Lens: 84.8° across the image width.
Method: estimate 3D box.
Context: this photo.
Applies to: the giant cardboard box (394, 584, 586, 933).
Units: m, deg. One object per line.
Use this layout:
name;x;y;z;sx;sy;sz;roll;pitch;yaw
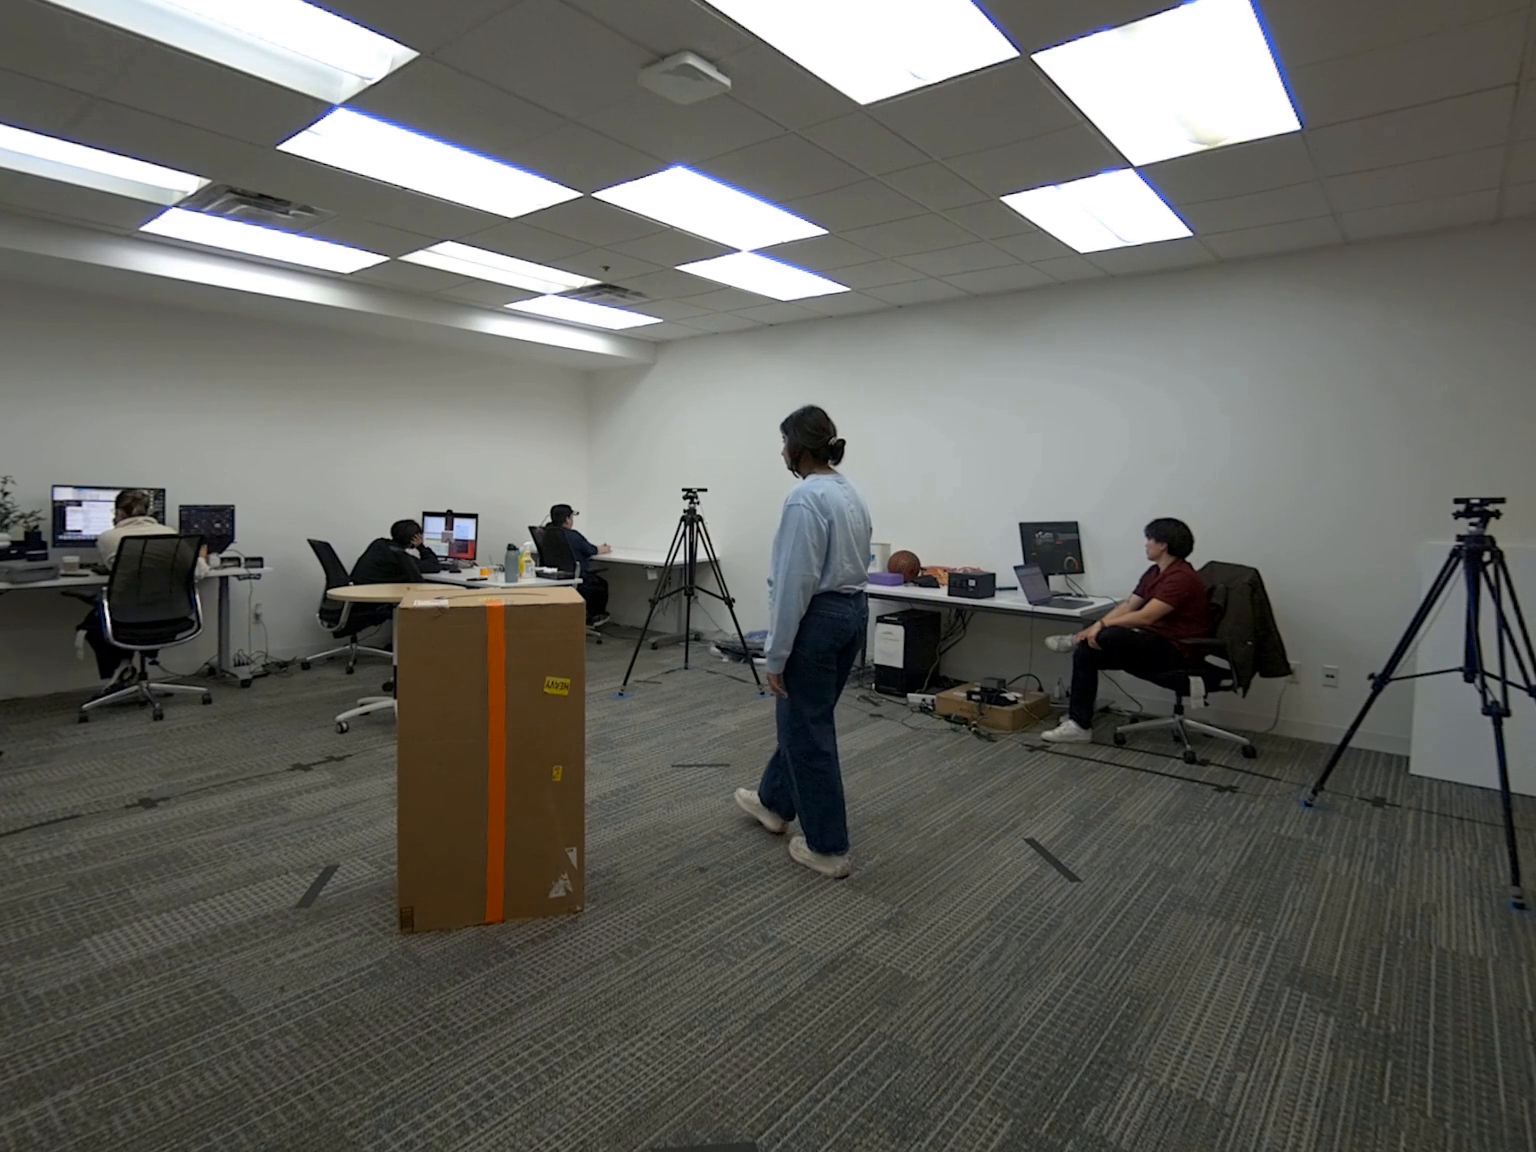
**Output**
giant cardboard box;-0.945;0.576;2.865;0.567;1.023;0.435;-1;4;-18
